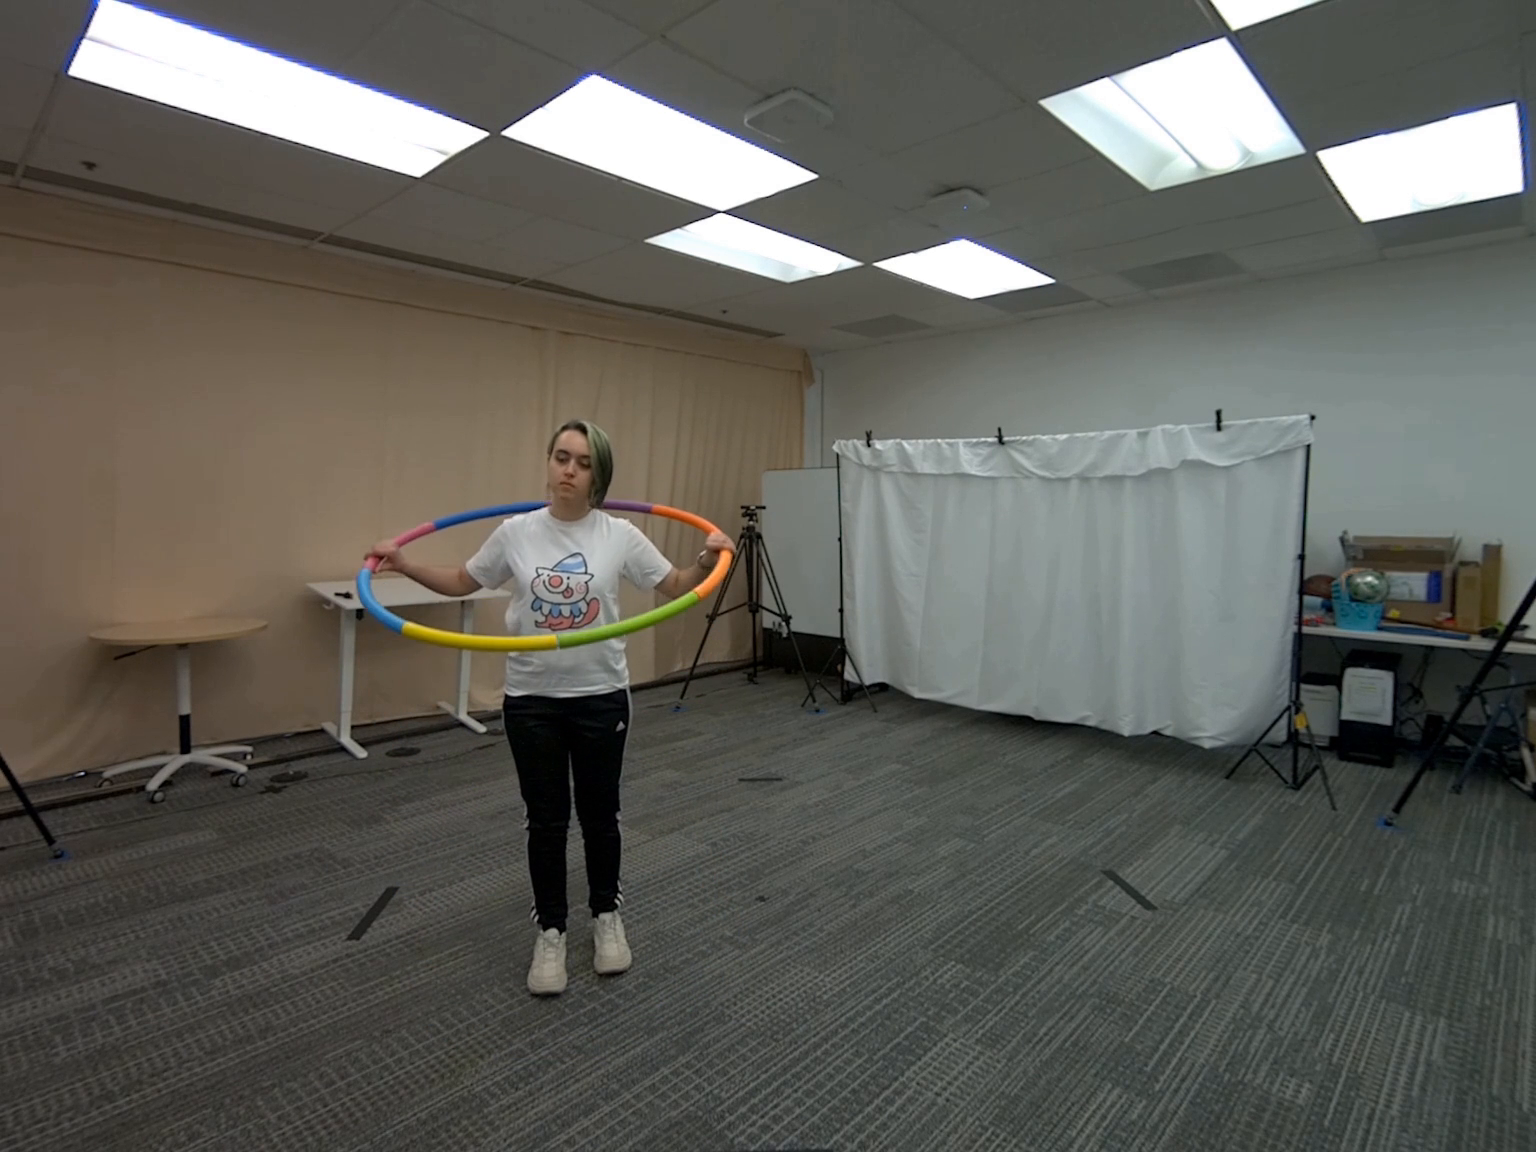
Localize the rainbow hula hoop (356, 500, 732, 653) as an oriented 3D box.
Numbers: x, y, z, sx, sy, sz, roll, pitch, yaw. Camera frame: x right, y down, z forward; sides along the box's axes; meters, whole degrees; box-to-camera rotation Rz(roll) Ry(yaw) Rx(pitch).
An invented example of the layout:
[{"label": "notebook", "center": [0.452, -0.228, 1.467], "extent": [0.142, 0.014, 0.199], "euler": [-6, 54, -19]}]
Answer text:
[{"label": "rainbow hula hoop", "center": [-0.590, -0.037, 2.315], "extent": [0.985, 0.051, 1.000], "euler": [-1, 24, -2]}]
